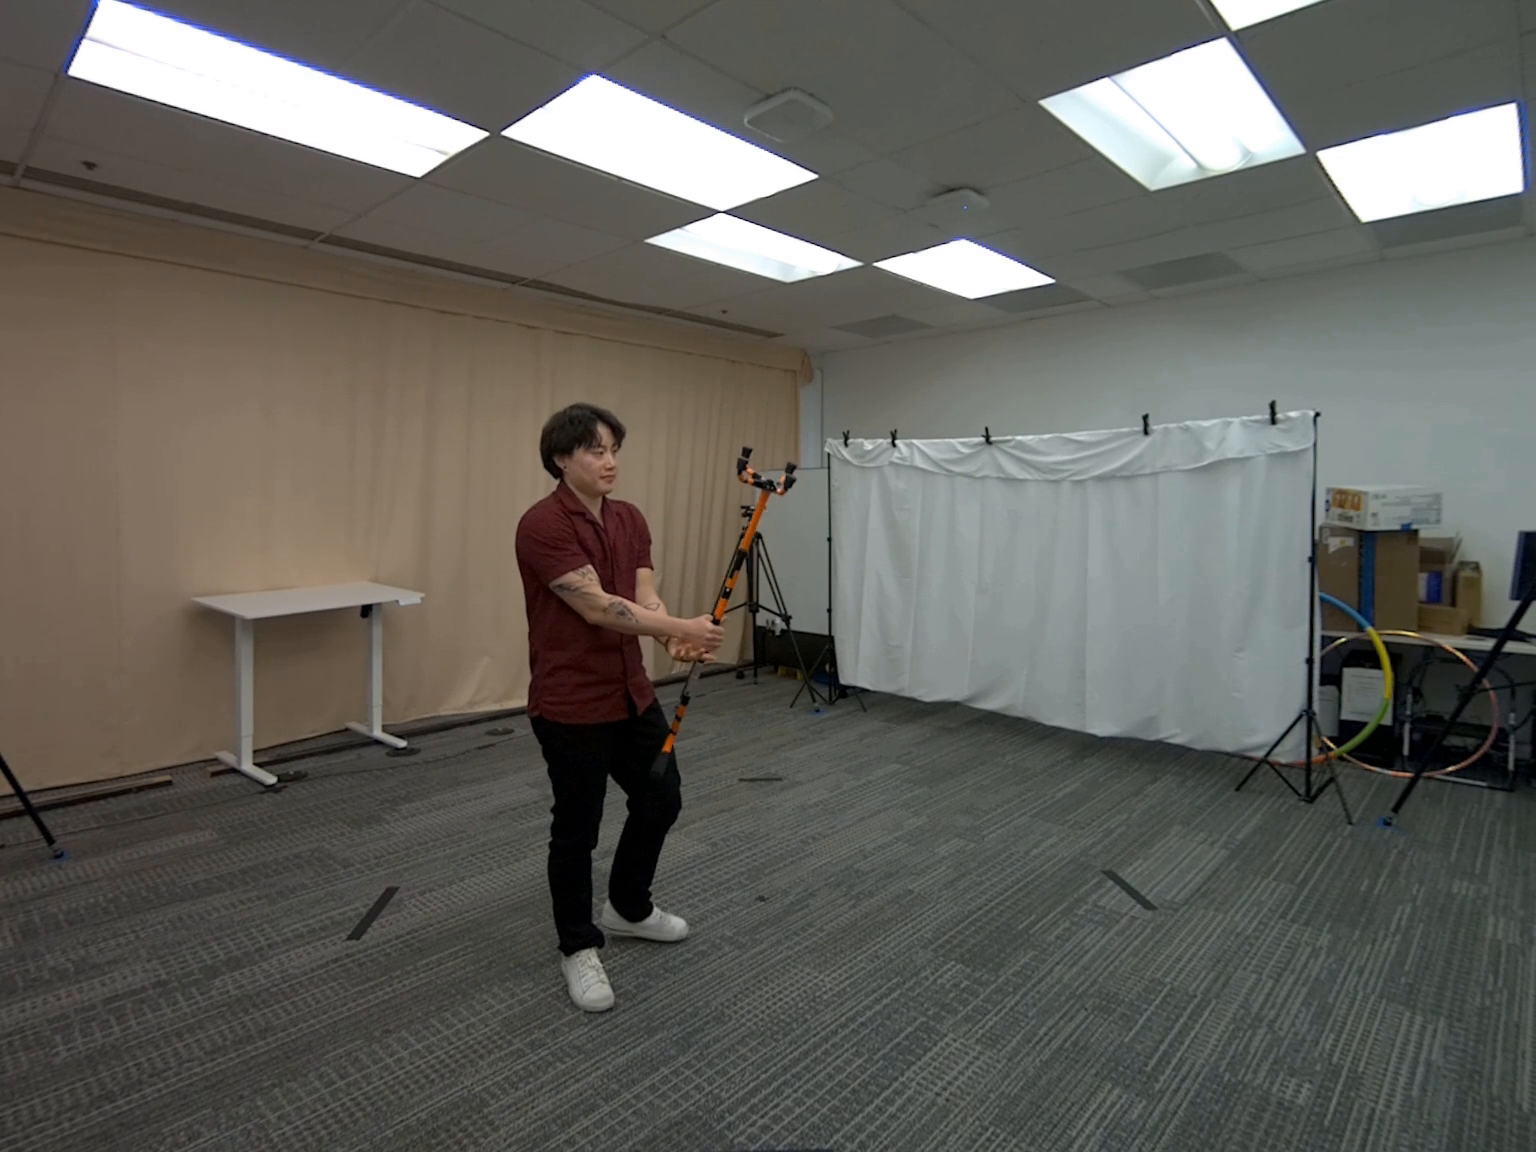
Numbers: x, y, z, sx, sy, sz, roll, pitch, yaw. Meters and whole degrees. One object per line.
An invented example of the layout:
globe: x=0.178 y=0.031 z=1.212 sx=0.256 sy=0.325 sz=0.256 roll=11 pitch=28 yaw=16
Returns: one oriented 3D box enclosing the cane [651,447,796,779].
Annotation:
cane: x=-0.149 y=0.116 z=2.218 sx=0.151 sy=0.904 sz=0.207 roll=20 pitch=17 yaw=-3
